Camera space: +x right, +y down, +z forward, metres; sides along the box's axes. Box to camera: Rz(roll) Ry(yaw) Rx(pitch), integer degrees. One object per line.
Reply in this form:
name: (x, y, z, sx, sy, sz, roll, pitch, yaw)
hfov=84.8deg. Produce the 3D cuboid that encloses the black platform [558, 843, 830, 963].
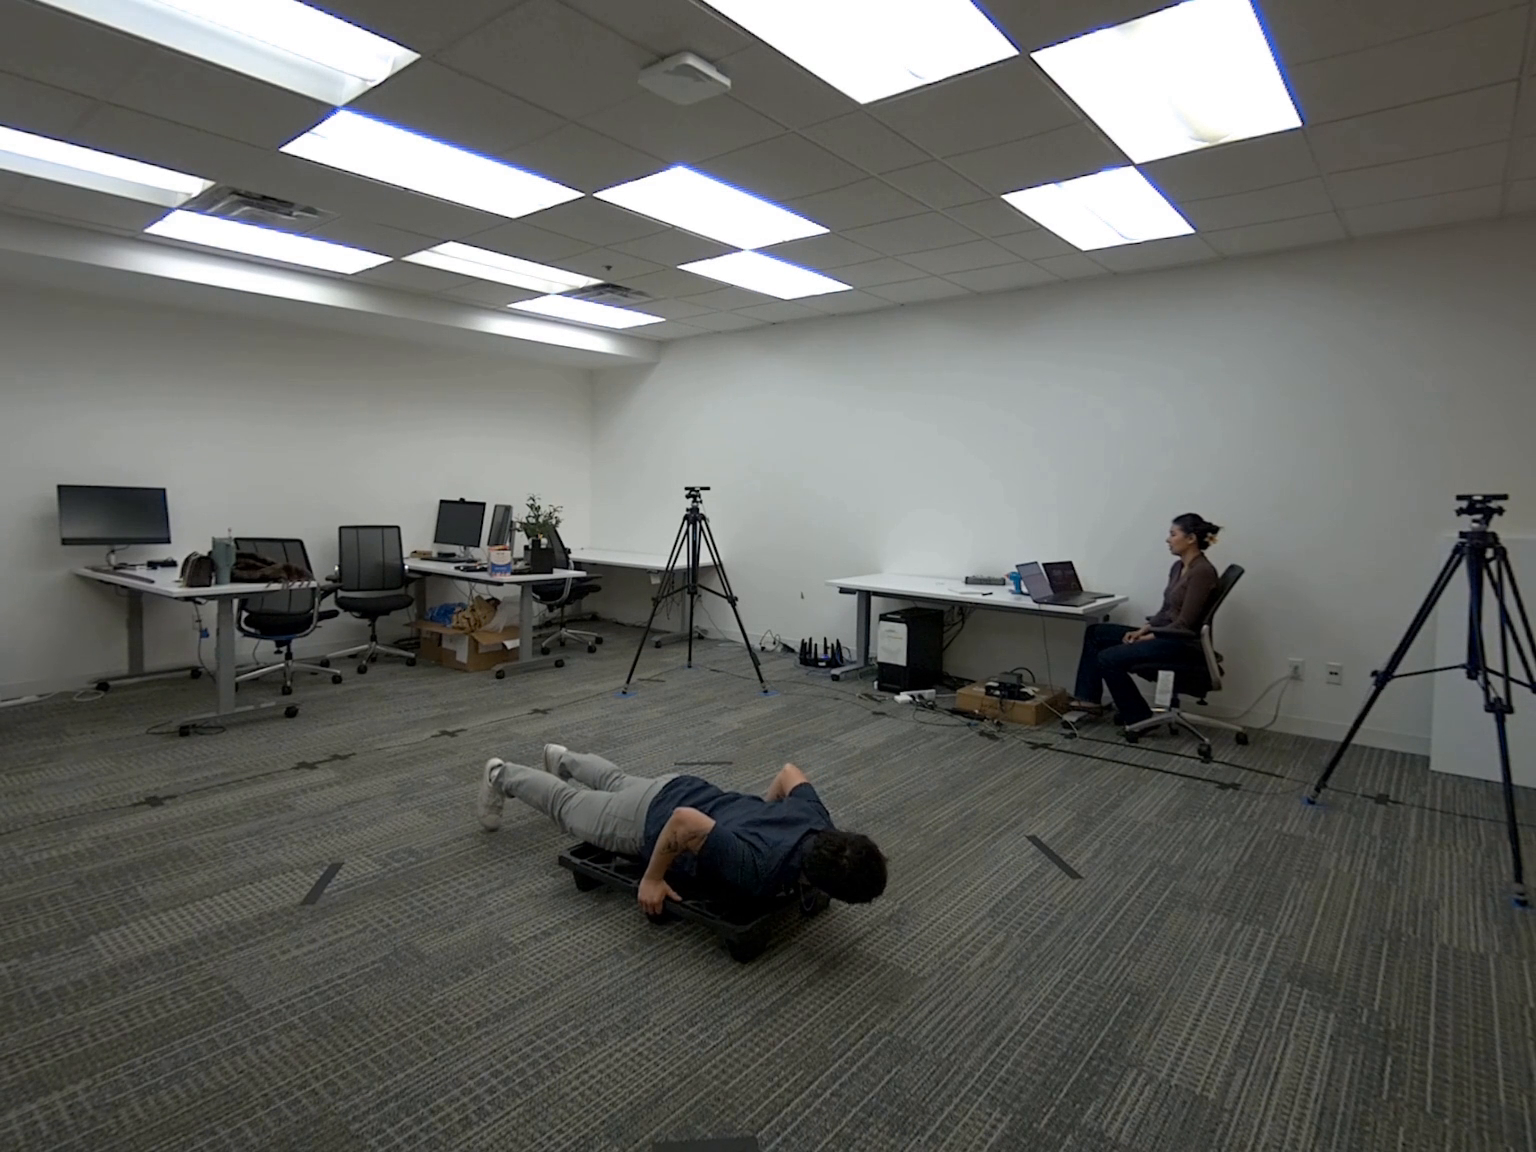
black platform: (-0.240, 1.029, 2.877, 0.832, 0.143, 0.587, 5, 5, 37)
